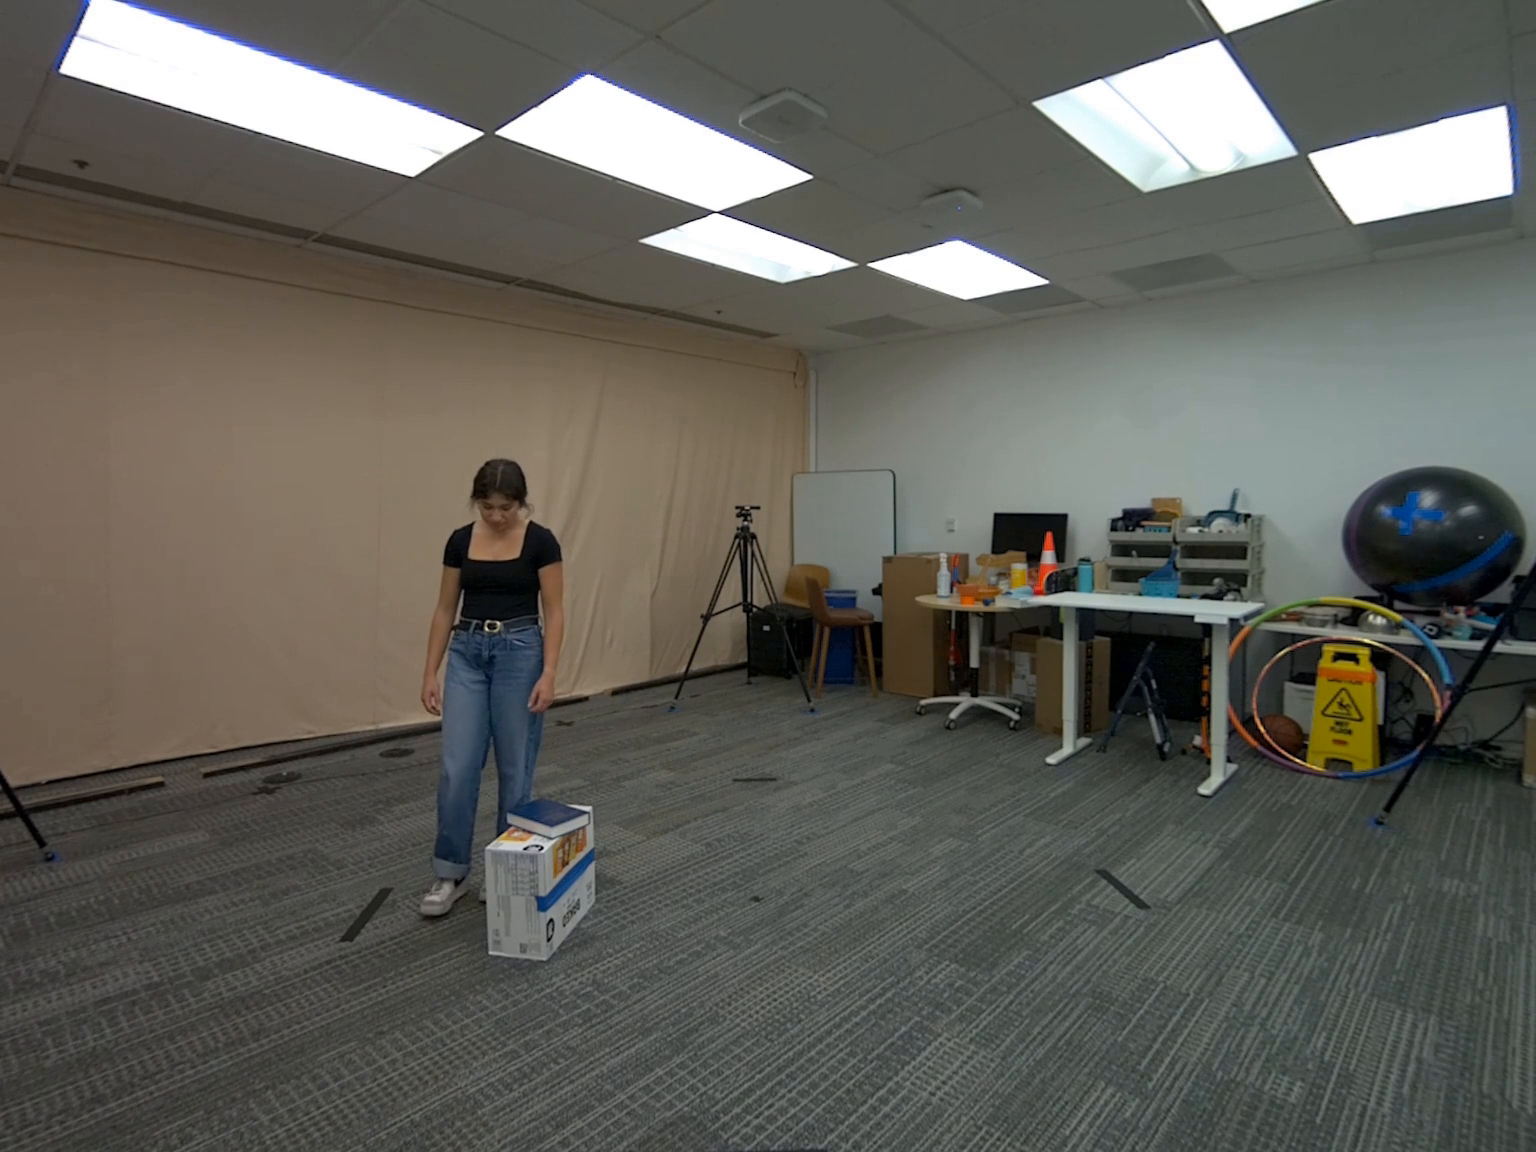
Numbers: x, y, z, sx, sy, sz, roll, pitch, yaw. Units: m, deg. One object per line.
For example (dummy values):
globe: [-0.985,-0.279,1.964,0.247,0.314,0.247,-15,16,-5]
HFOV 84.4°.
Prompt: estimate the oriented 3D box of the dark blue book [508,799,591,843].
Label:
dark blue book: [-0.734,0.804,2.801,0.253,0.045,0.159,1,5,37]
